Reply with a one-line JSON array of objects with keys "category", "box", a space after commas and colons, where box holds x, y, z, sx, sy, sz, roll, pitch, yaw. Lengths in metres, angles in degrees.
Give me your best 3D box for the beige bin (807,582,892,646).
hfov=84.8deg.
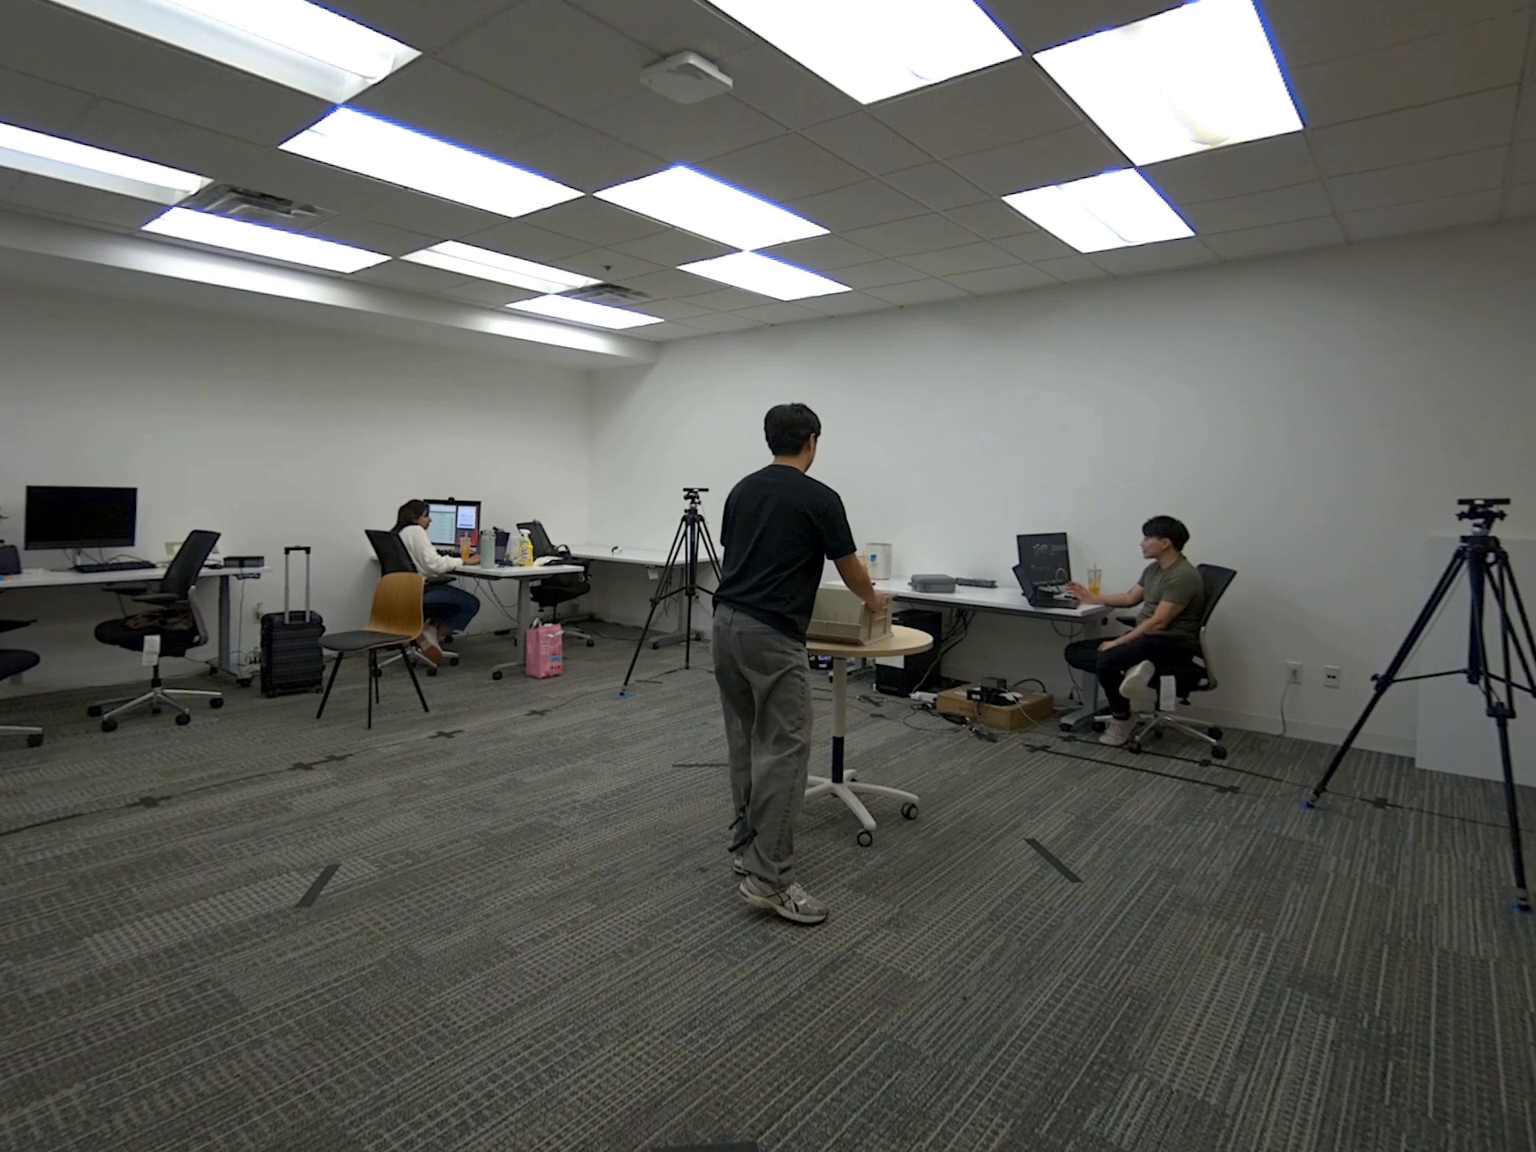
[{"category": "beige bin", "box": [0.269, 0.164, 3.573, 0.435, 0.188, 0.367, 3, 4, 32]}]
